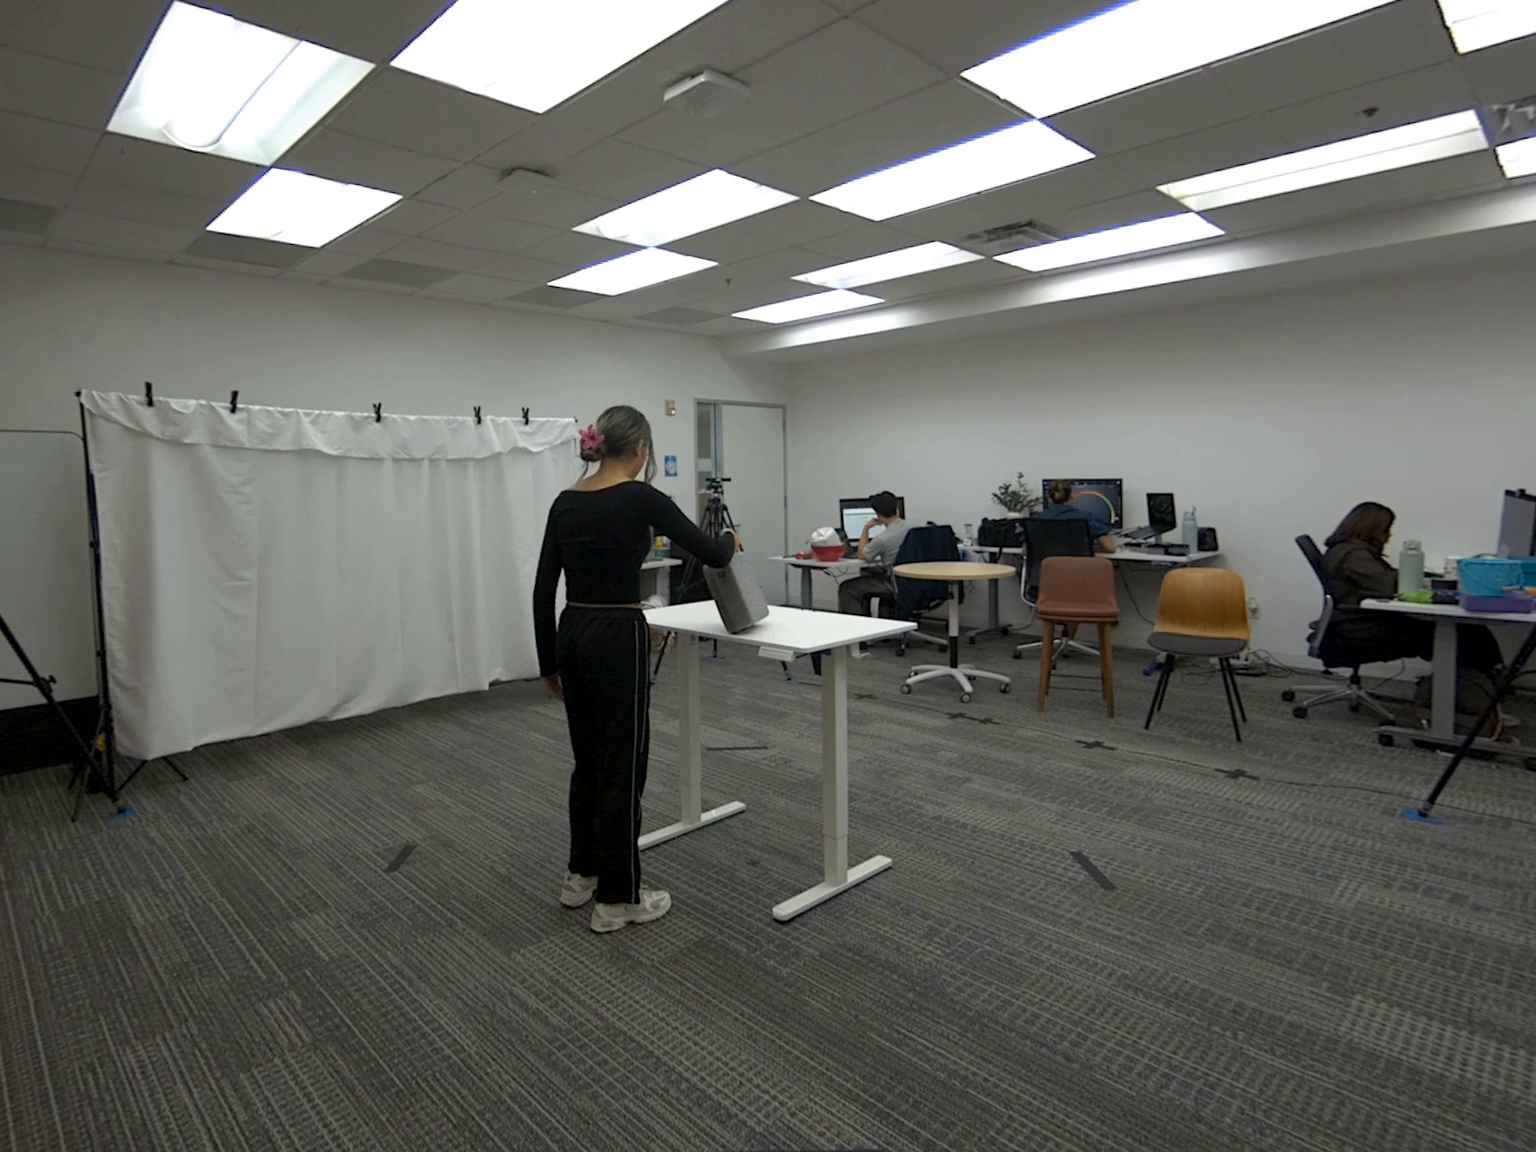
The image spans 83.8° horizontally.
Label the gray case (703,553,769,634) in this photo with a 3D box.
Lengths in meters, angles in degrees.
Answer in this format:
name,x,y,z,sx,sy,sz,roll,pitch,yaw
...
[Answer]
name,x,y,z,sx,sy,sz,roll,pitch,yaw
gray case,-0.104,0.049,2.907,0.105,0.261,0.254,-20,-1,16
